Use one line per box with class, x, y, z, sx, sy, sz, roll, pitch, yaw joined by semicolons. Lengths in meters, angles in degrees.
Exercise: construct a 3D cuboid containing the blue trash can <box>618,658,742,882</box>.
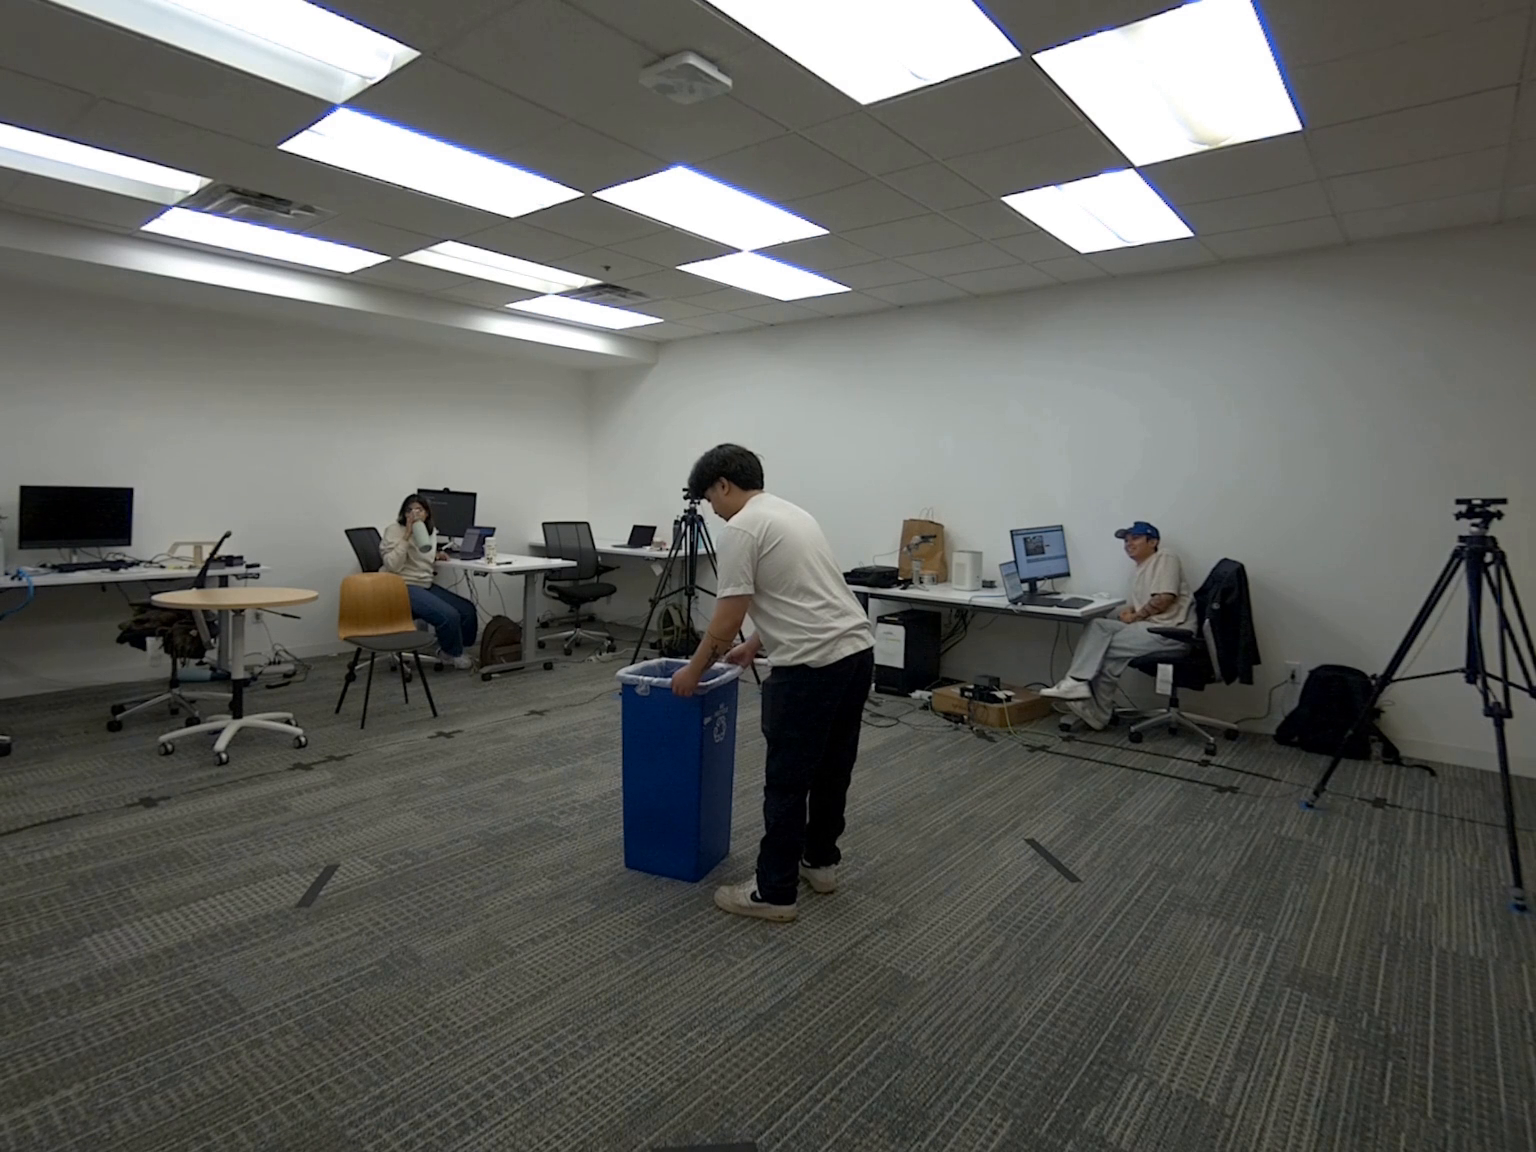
blue trash can;-0.340;0.701;3.180;0.387;0.711;0.366;3;3;22
